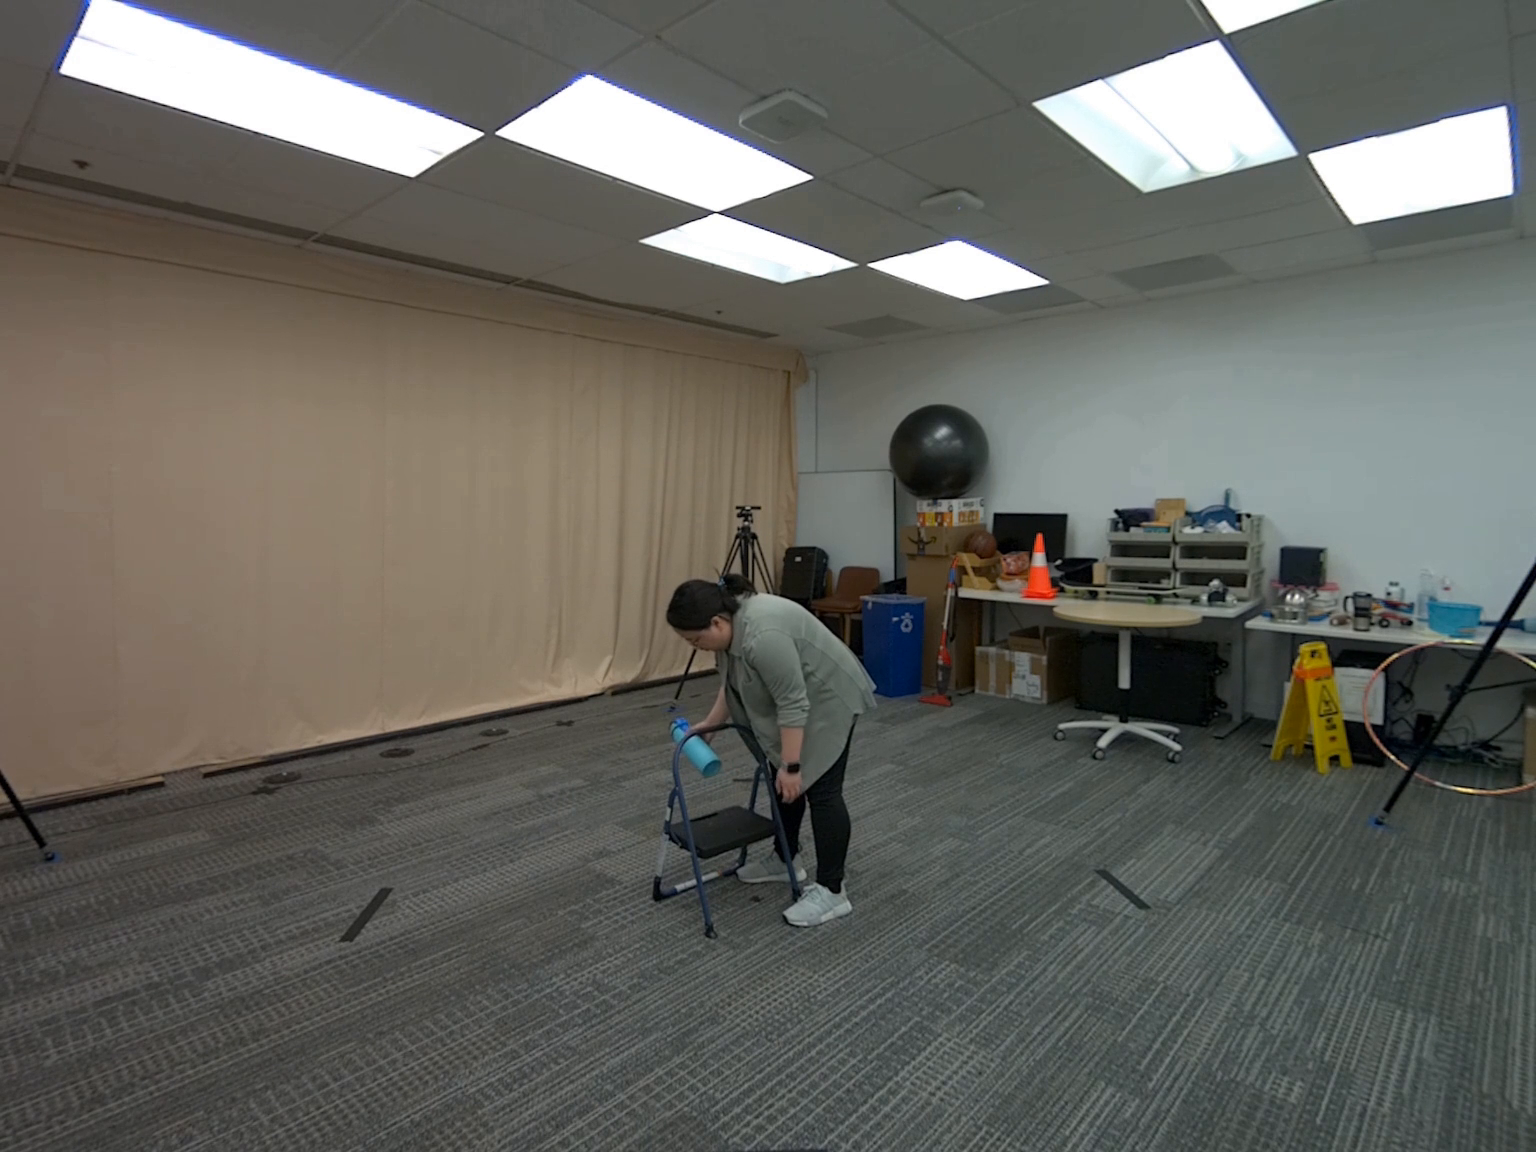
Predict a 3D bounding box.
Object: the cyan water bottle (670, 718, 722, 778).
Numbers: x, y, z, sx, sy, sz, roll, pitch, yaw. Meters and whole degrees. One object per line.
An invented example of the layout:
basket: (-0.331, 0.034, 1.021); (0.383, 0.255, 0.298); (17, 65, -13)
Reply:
cyan water bottle: (-0.280, 0.651, 3.217); (0.089, 0.092, 0.294); (-3, 30, -38)
